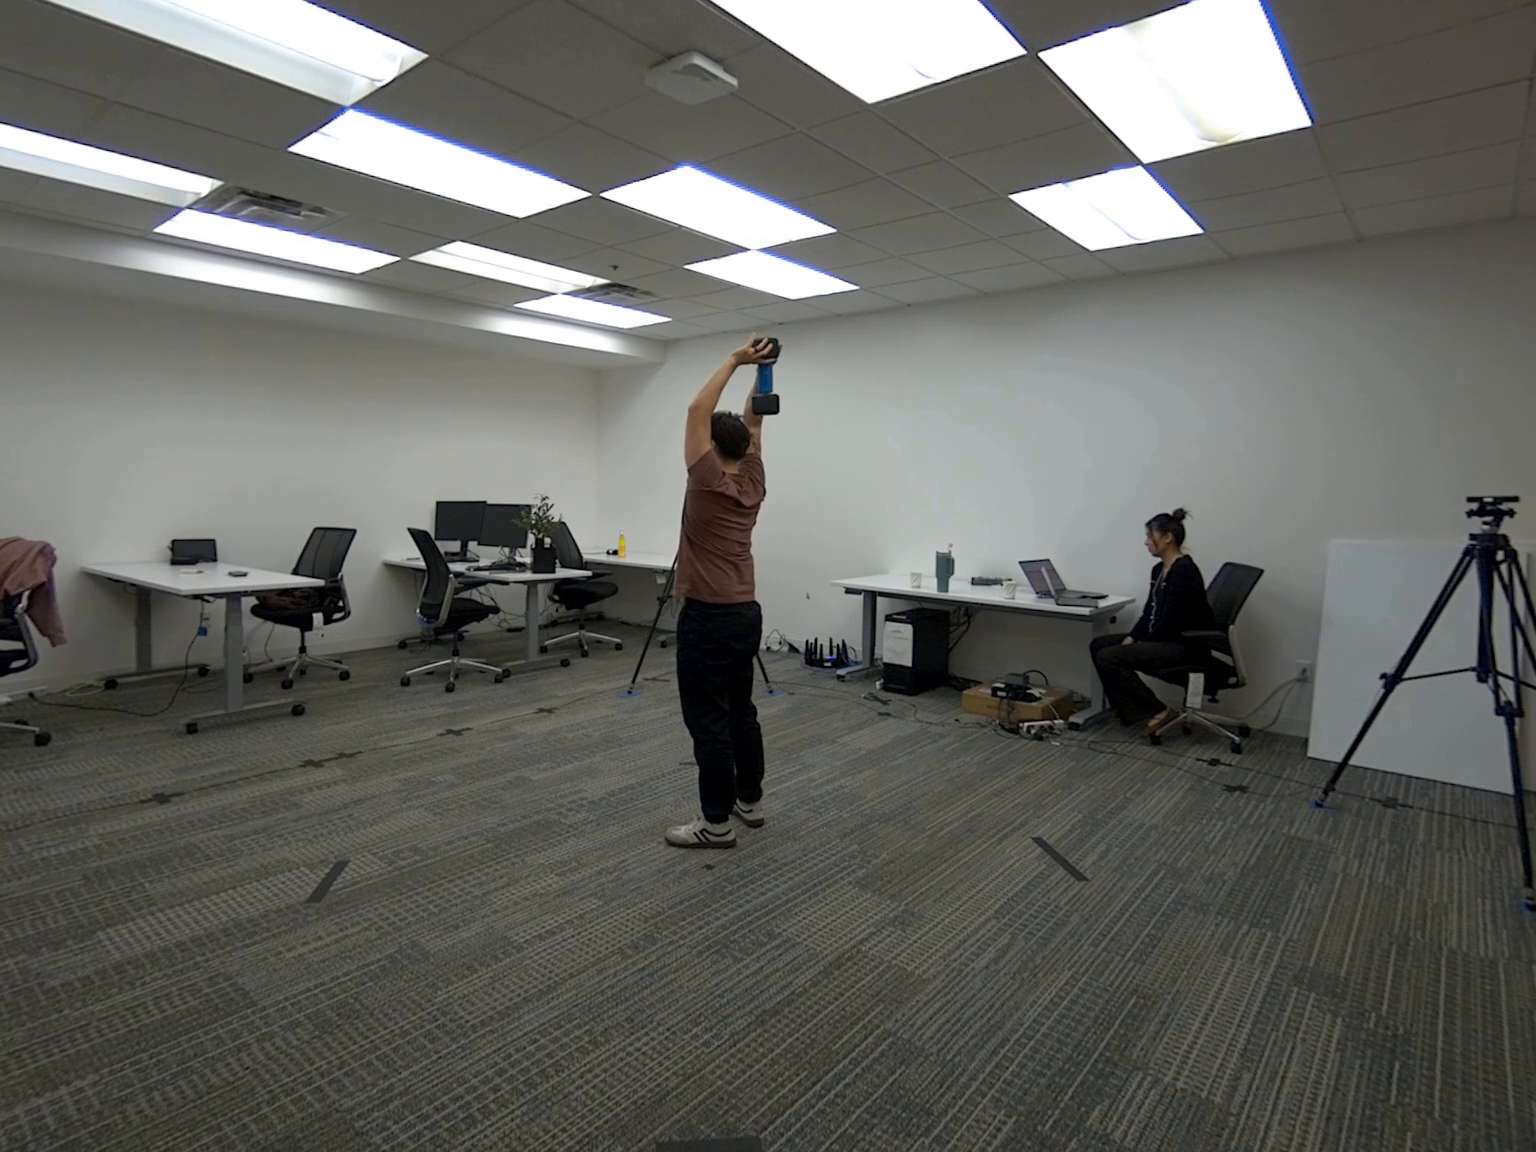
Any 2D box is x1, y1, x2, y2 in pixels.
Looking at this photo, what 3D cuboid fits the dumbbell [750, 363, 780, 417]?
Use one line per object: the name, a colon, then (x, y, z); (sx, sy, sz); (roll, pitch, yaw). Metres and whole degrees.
dumbbell: (-0.021, -0.770, 3.299); (0.126, 0.292, 0.106); (-2, 6, 36)
